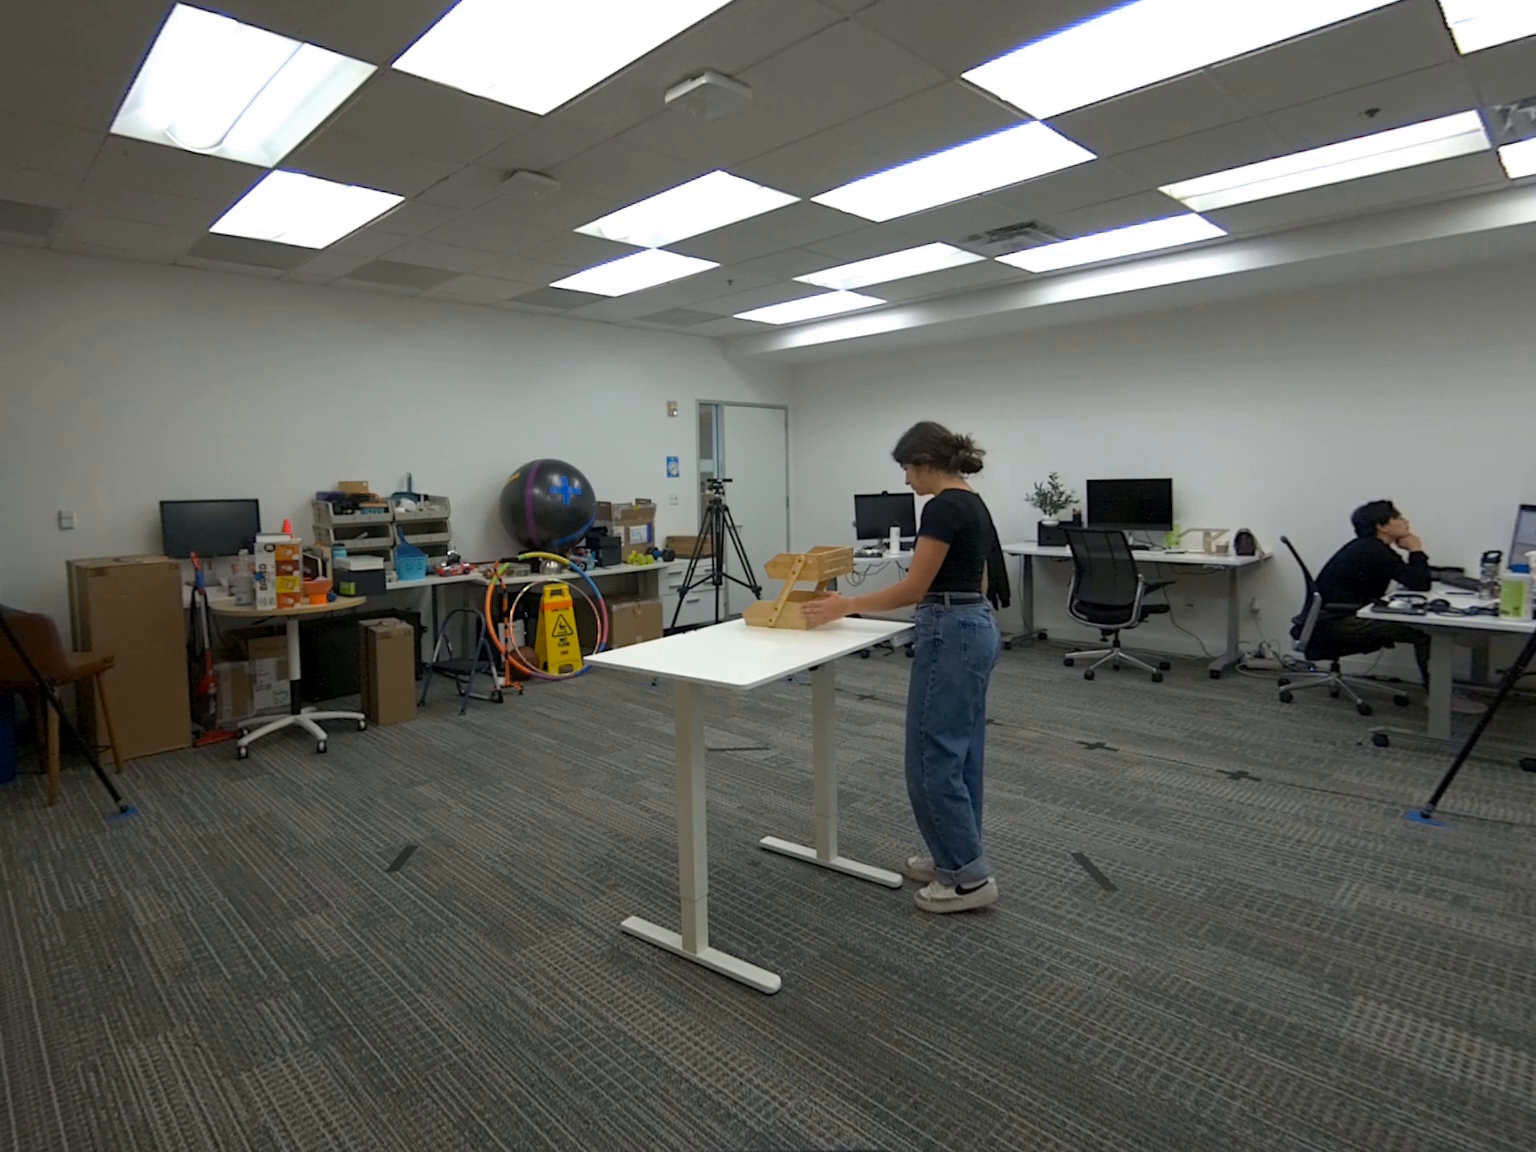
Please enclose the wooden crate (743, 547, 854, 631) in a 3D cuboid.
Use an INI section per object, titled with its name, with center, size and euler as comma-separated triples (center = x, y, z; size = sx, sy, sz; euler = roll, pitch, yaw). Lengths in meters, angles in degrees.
[wooden crate]
center = 0.111, 0.029, 3.046
size = 0.310, 0.272, 0.317
euler = 3, 7, 29
